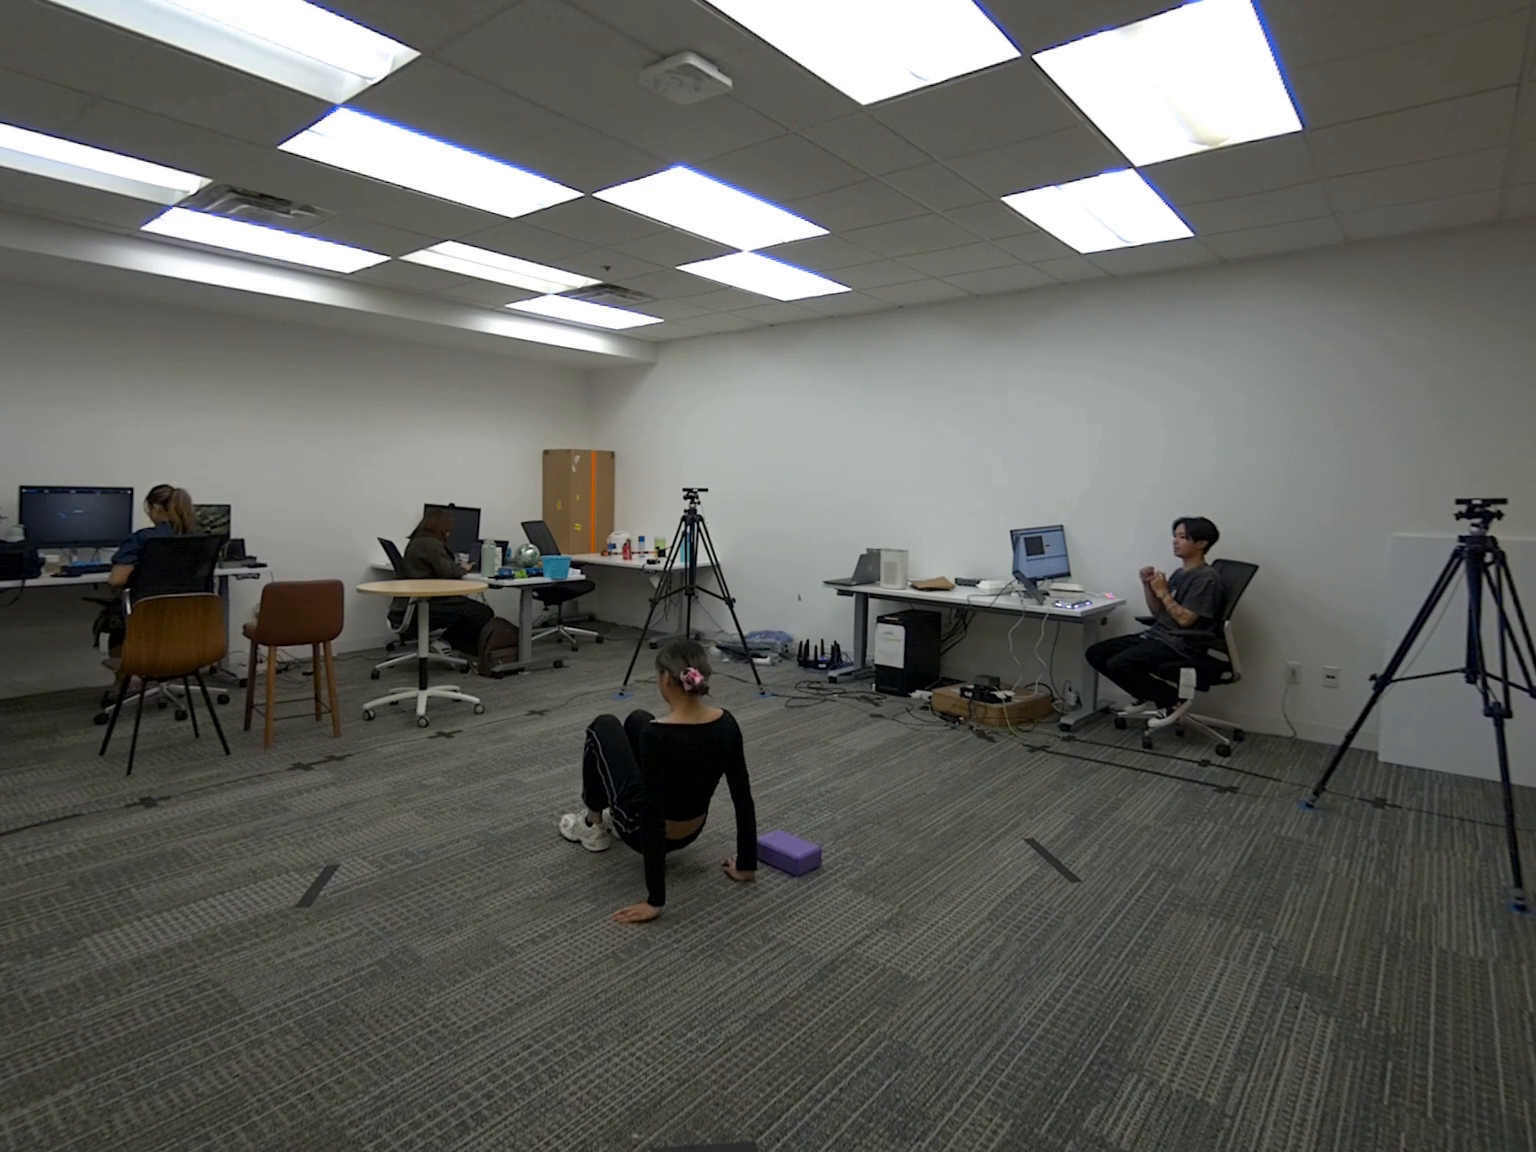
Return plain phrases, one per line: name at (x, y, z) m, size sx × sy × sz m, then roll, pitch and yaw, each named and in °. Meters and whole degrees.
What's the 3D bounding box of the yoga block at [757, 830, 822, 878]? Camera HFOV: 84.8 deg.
yoga block at (0.064, 1.035, 3.180) m, size 0.237 × 0.076 × 0.144 m, roll 6°, pitch 8°, yaw 43°
